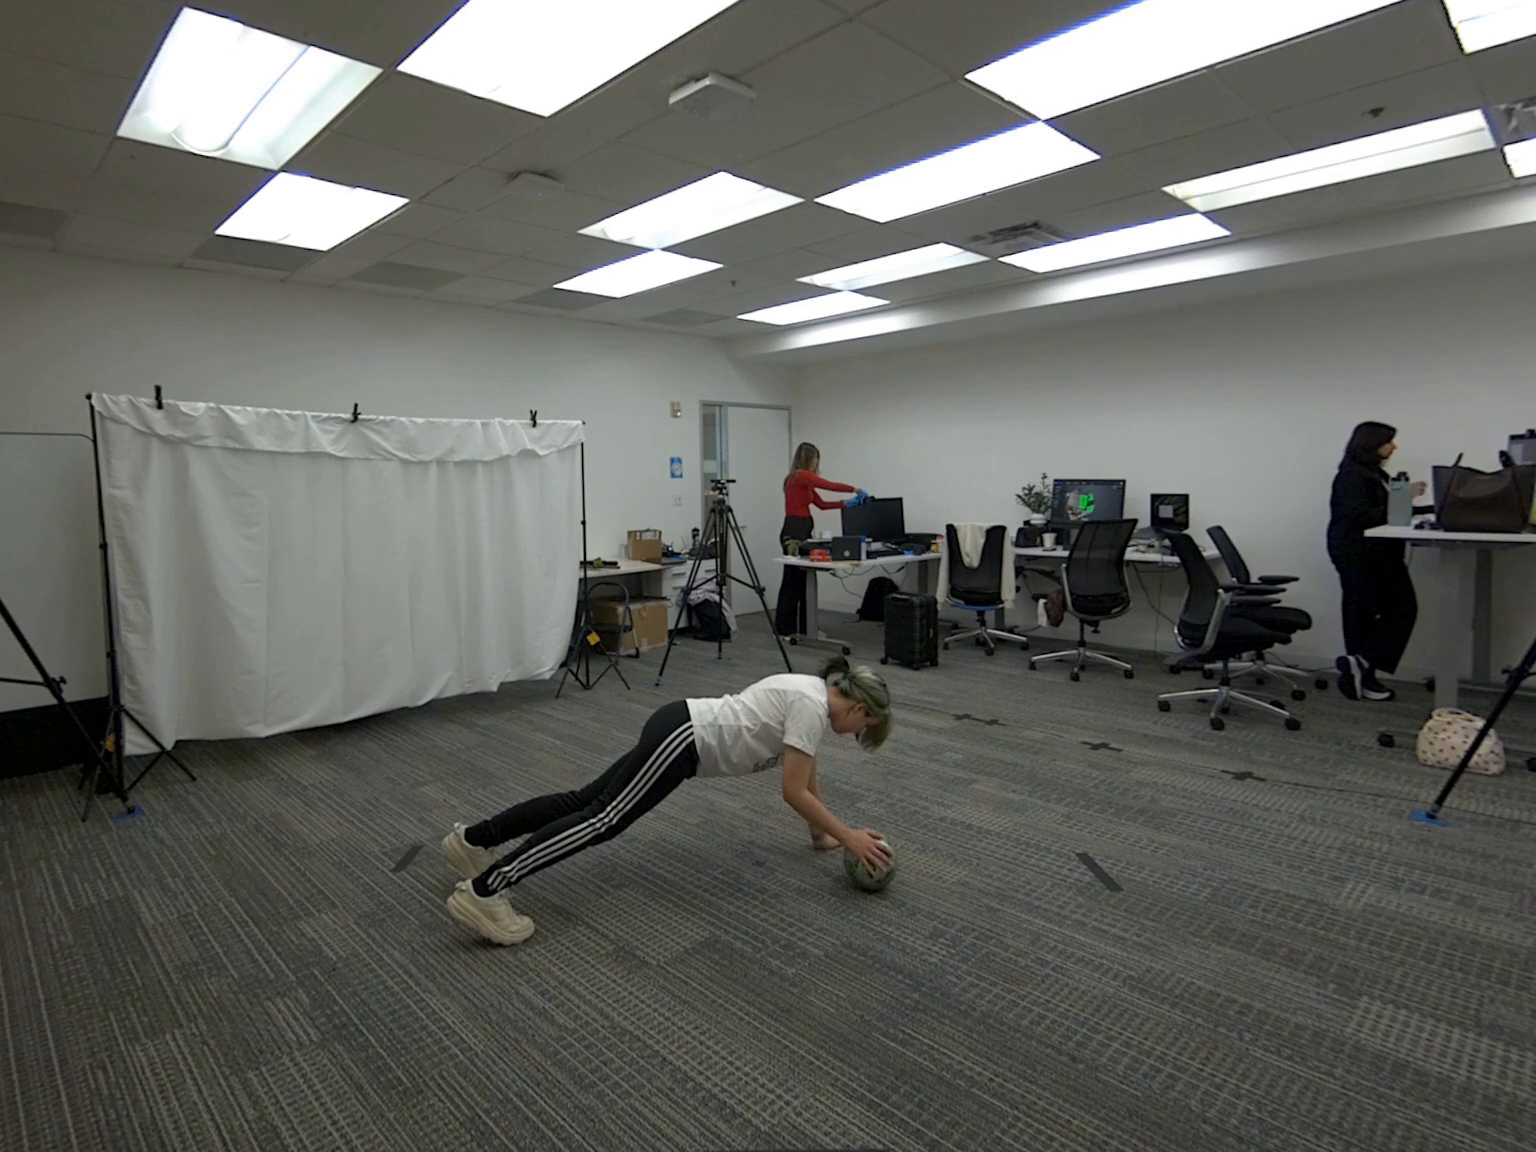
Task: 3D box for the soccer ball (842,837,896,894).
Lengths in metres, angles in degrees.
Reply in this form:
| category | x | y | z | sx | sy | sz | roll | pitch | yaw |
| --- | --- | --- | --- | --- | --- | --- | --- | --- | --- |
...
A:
| category | x | y | z | sx | sy | sz | roll | pitch | yaw |
| --- | --- | --- | --- | --- | --- | --- | --- | --- | --- |
| soccer ball | 0.342 | 0.968 | 2.921 | 0.187 | 0.187 | 0.188 | -1 | 5 | -2 |
